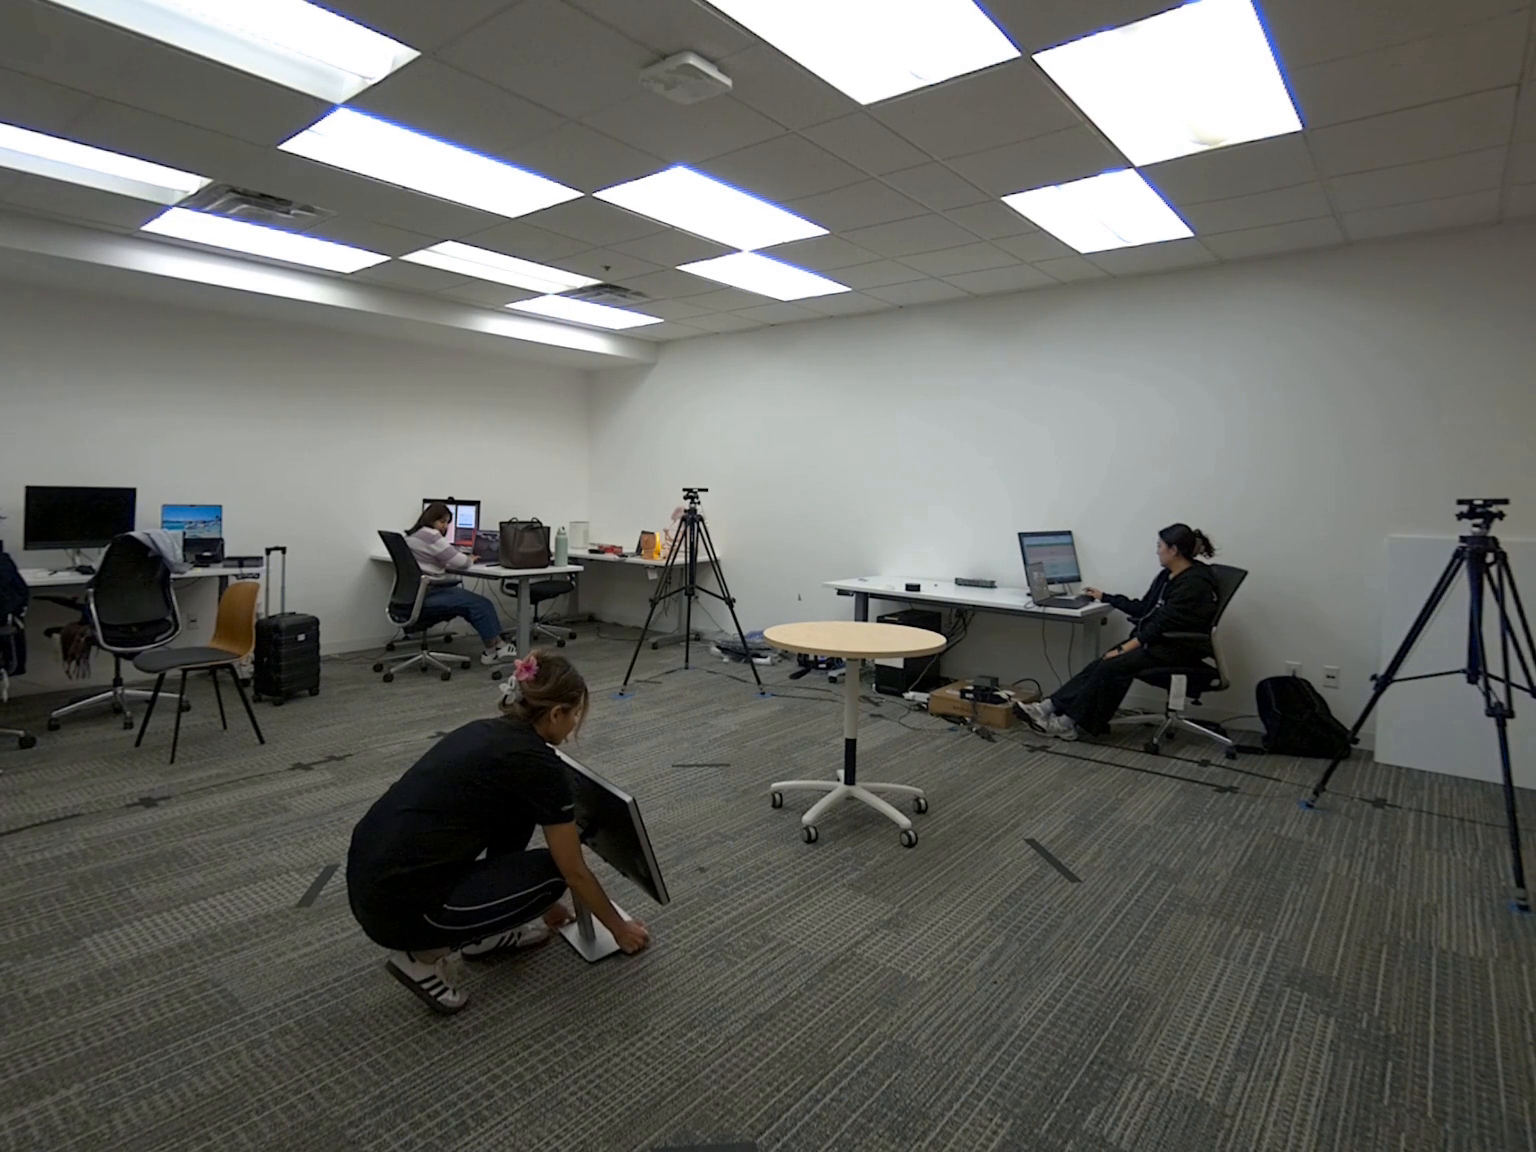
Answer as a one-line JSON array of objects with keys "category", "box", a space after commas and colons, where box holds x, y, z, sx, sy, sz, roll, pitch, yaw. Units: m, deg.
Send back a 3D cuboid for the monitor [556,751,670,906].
[{"category": "monitor", "box": [-0.539, 0.832, 2.579, 0.182, 0.518, 0.558, -10, 12, -39]}]
